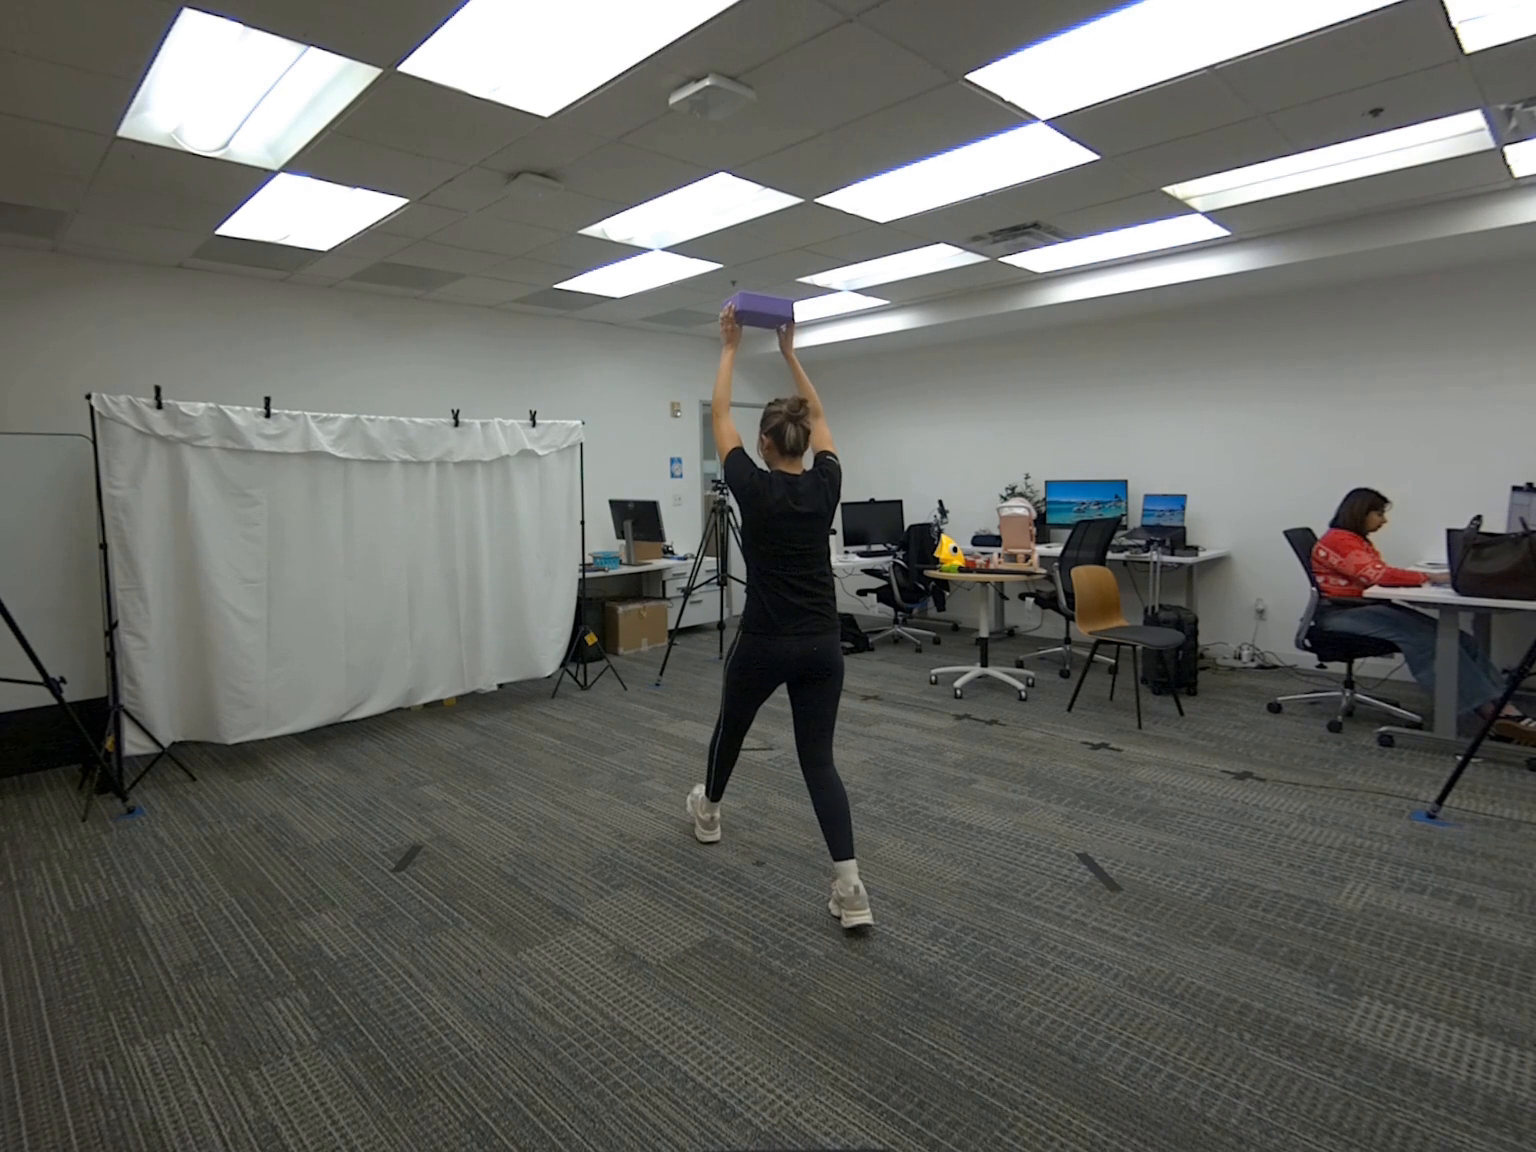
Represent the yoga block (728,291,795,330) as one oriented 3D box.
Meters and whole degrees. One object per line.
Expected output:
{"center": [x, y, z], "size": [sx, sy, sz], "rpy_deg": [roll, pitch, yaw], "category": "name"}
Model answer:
{"center": [-0.035, -0.945, 3.051], "size": [0.224, 0.076, 0.152], "rpy_deg": [0, -2, -28], "category": "yoga block"}
